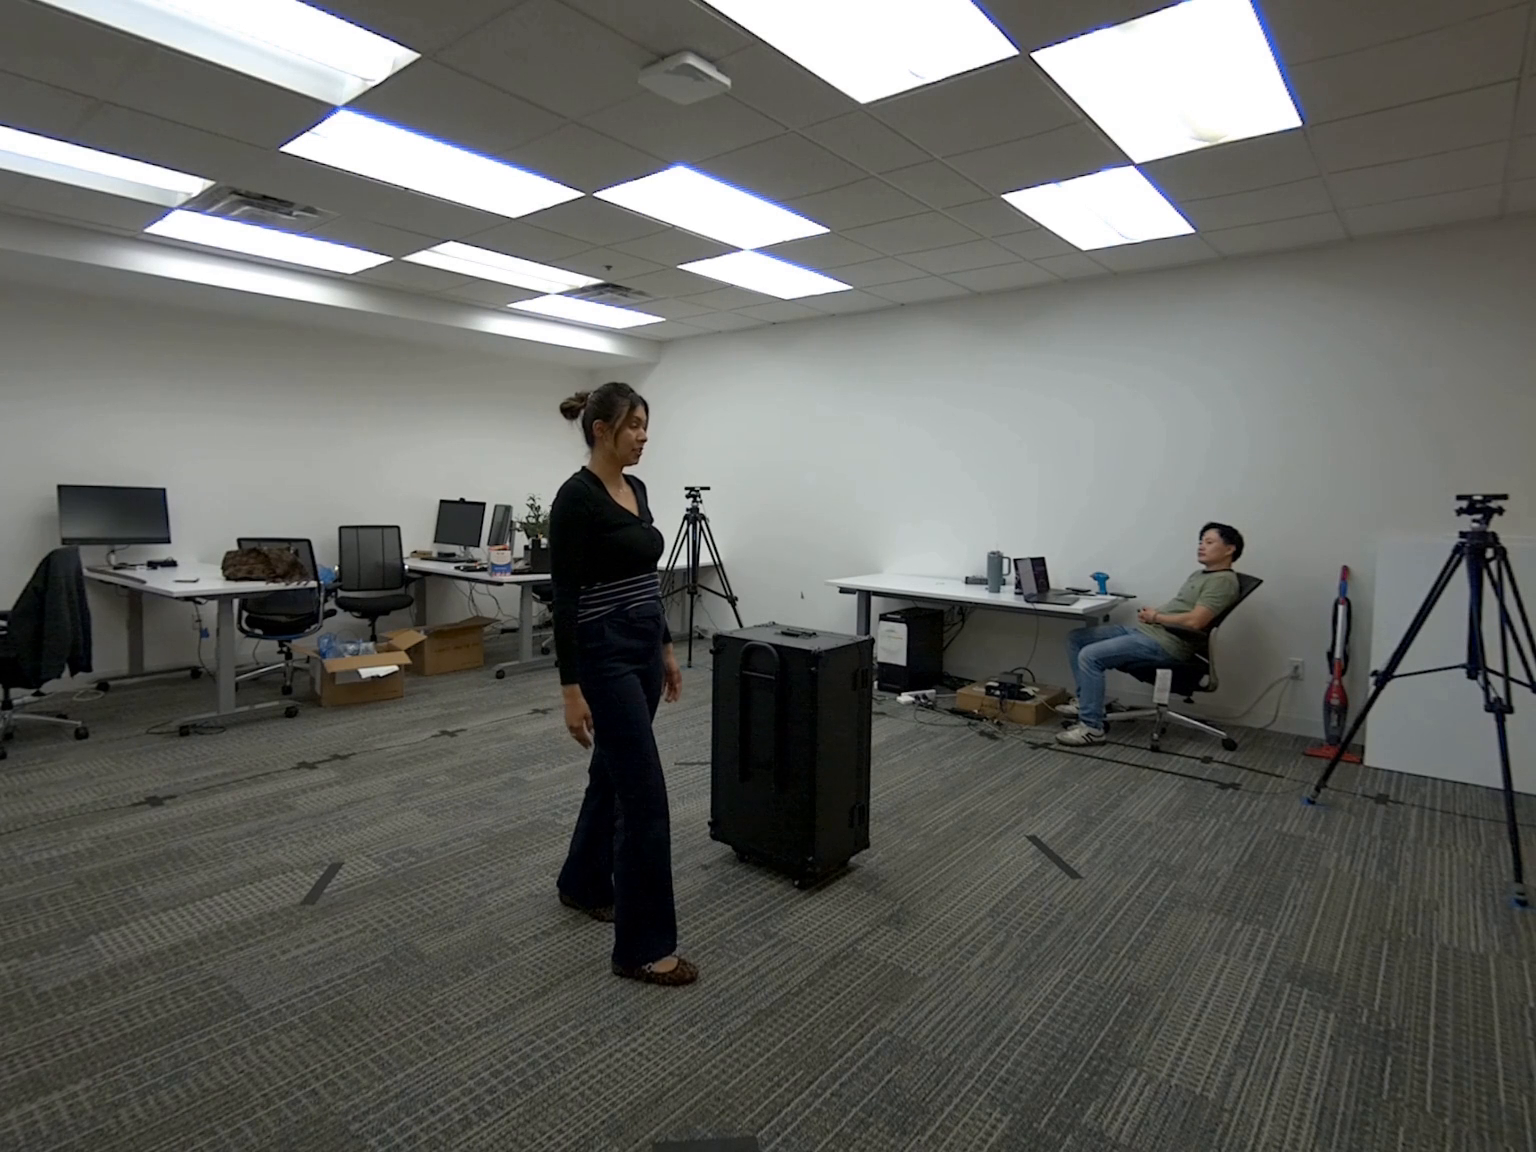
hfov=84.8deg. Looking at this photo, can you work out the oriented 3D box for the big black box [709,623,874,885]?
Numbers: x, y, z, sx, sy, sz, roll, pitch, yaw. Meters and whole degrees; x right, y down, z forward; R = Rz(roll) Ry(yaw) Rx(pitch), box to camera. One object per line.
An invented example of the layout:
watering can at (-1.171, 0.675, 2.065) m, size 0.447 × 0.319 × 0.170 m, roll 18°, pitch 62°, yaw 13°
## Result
big black box at (0.069, 0.586, 3.146) m, size 0.539 × 0.859 × 0.384 m, roll 4°, pitch 5°, yaw 40°
